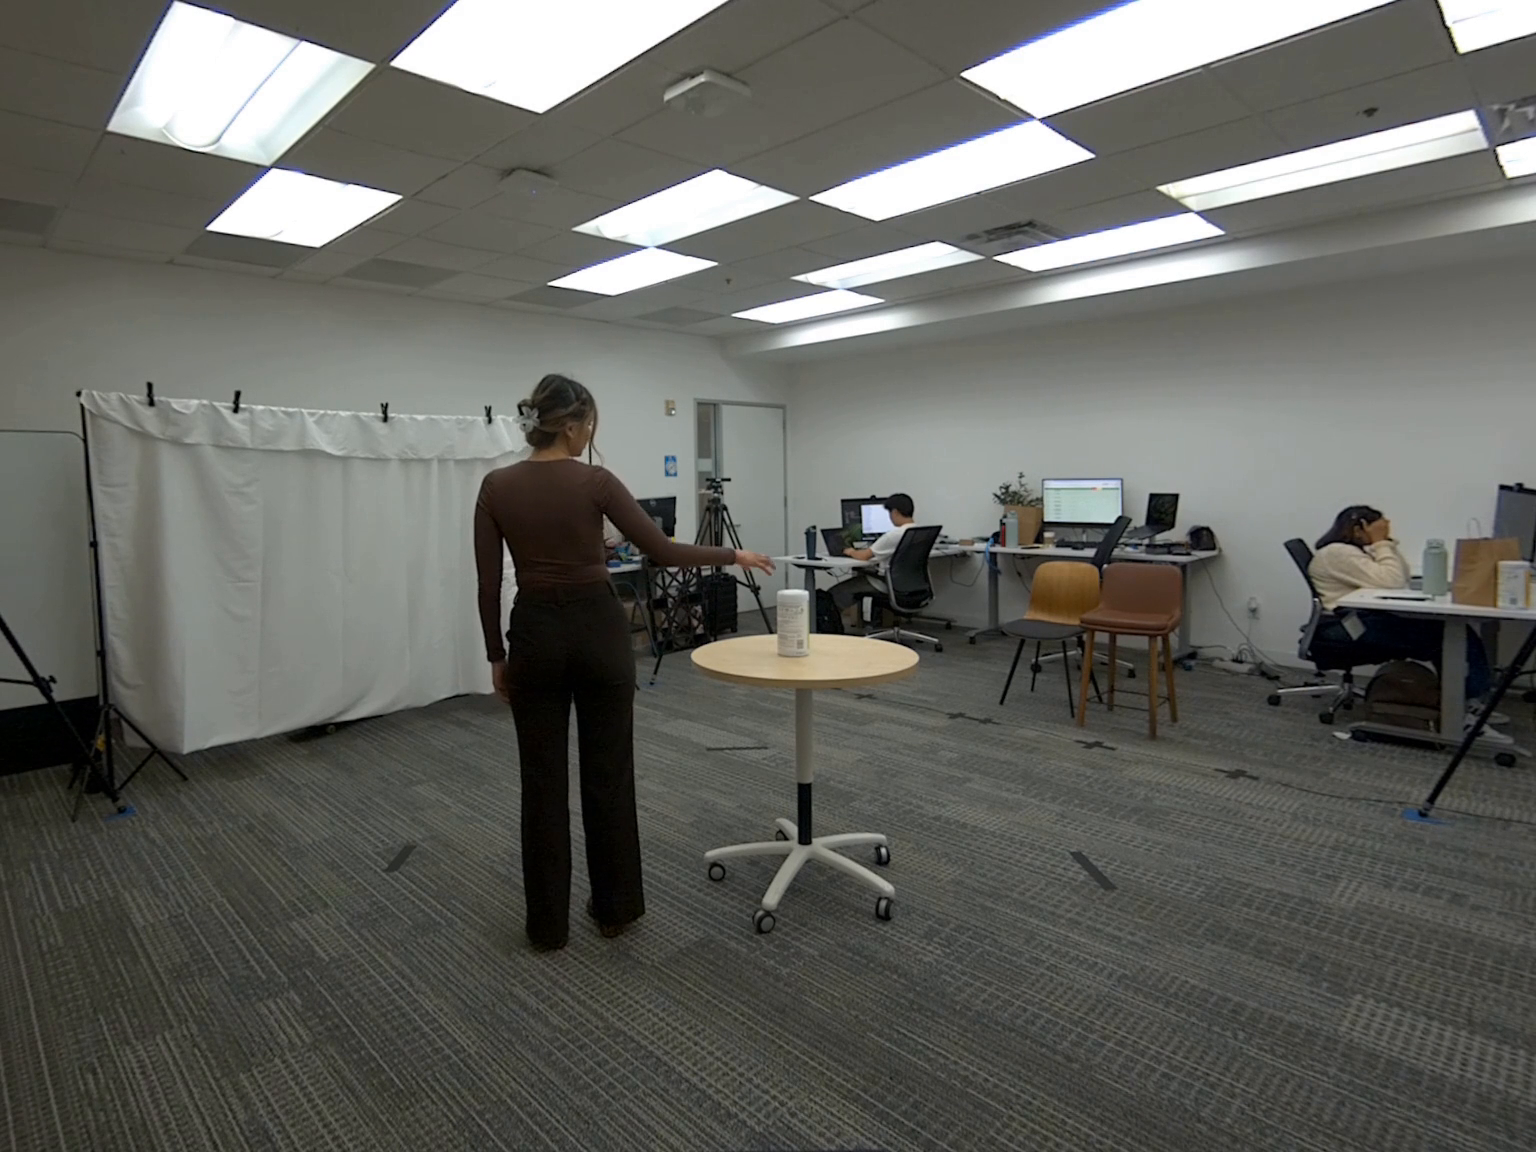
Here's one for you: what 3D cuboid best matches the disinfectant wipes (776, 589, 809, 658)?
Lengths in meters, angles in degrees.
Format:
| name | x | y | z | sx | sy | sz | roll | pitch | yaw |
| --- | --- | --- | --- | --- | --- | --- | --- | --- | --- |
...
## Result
| name | x | y | z | sx | sy | sz | roll | pitch | yaw |
| --- | --- | --- | --- | --- | --- | --- | --- | --- | --- |
| disinfectant wipes | 0.089 | 0.159 | 2.894 | 0.118 | 0.217 | 0.118 | -2 | 3 | -2 |
